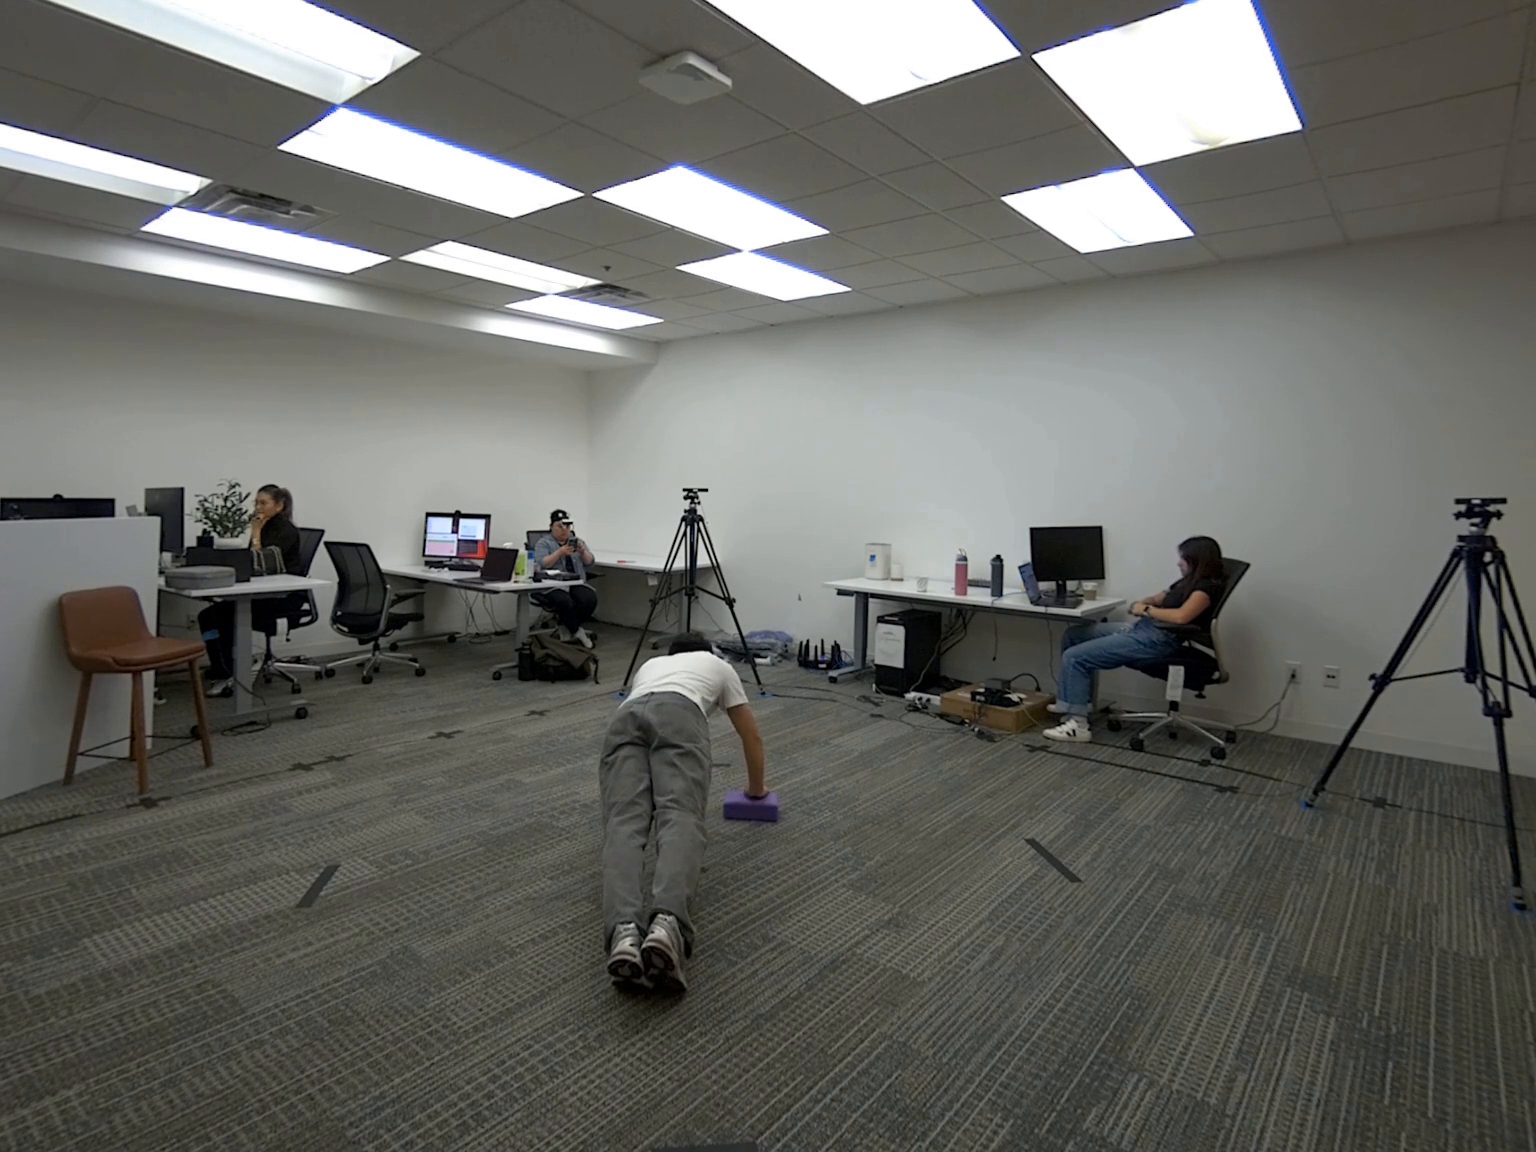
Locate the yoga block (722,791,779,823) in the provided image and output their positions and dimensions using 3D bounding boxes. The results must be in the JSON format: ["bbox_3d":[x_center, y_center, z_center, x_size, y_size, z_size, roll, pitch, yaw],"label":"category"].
[{"bbox_3d":[-0.067,0.979,3.650,0.231,0.076,0.148,1,6,6],"label":"yoga block"}]
